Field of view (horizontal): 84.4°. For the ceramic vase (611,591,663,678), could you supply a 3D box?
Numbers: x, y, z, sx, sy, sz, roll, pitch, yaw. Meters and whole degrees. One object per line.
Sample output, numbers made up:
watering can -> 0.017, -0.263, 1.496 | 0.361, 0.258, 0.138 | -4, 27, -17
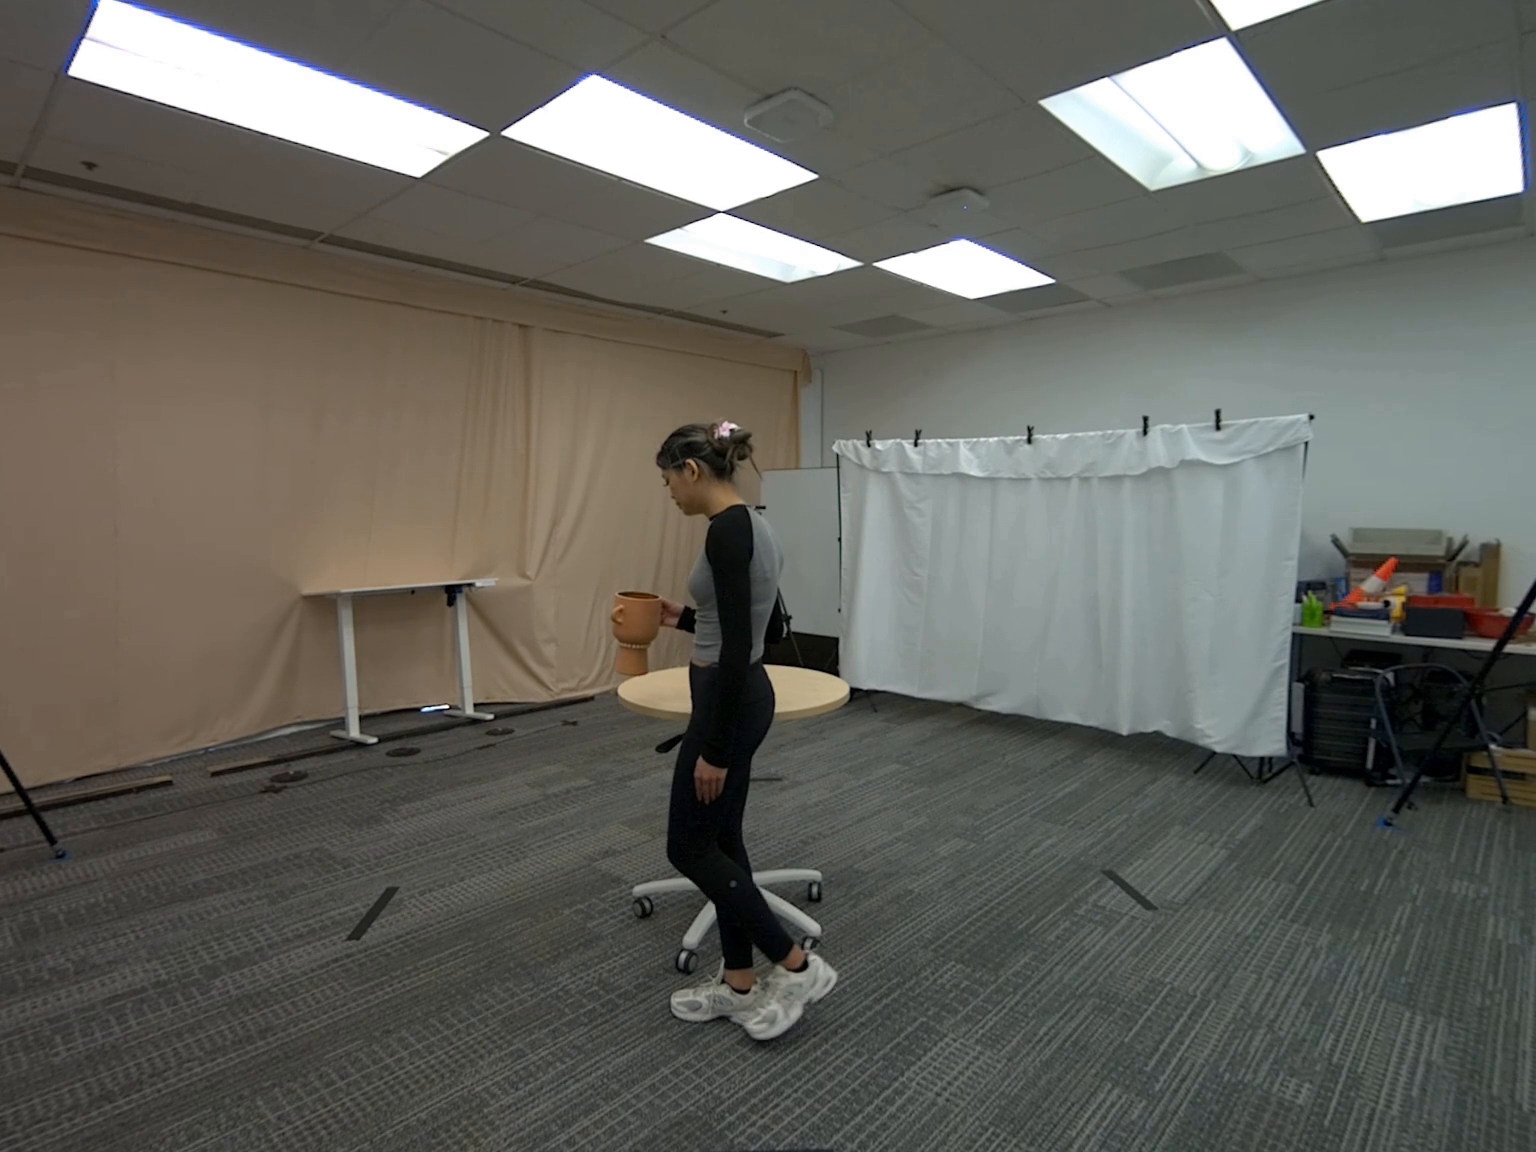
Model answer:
ceramic vase -> -0.366, 0.165, 2.362 | 0.155, 0.219, 0.138 | 3, 7, -20
